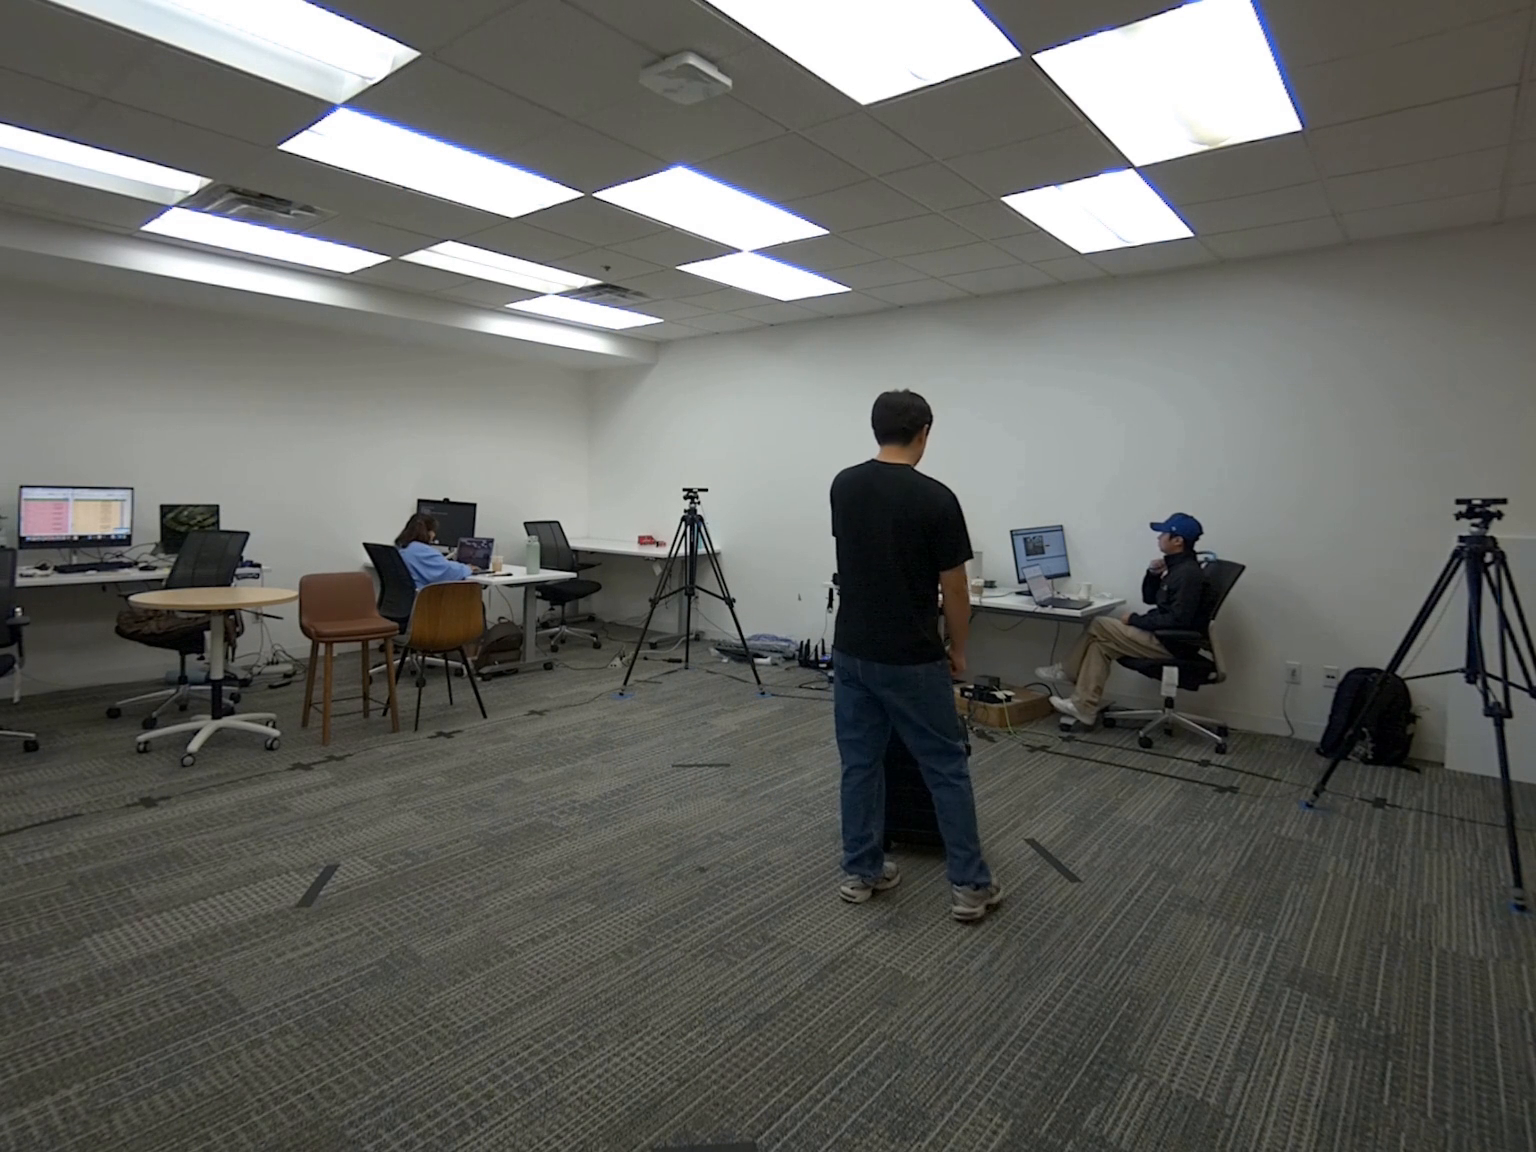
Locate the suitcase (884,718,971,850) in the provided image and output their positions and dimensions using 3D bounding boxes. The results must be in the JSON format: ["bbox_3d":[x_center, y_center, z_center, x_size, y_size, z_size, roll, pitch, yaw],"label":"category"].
[{"bbox_3d":[0.593,0.585,3.352,0.389,0.978,0.254,2,1,11],"label":"suitcase"}]
